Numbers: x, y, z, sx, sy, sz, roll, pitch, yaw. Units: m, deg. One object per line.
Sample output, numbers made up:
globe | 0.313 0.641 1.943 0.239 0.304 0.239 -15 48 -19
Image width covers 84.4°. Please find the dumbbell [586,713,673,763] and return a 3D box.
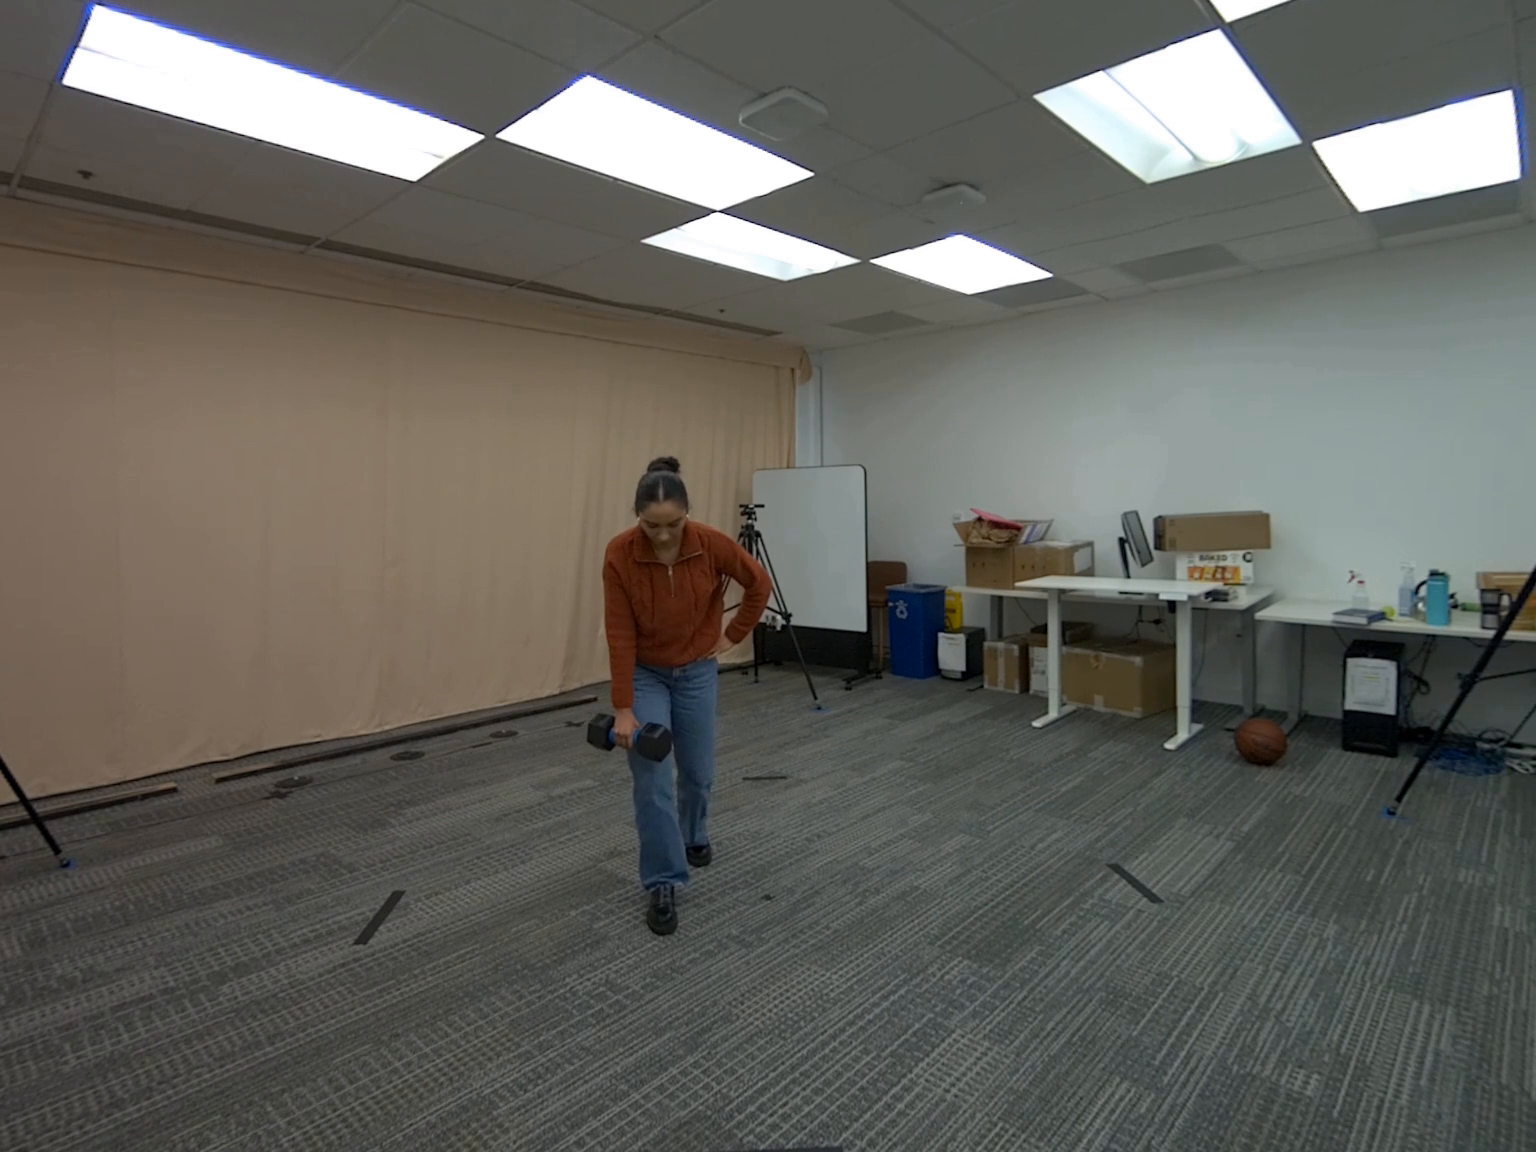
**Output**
dumbbell | -0.464 0.536 2.797 0.302 0.123 0.105 3 -1 33
